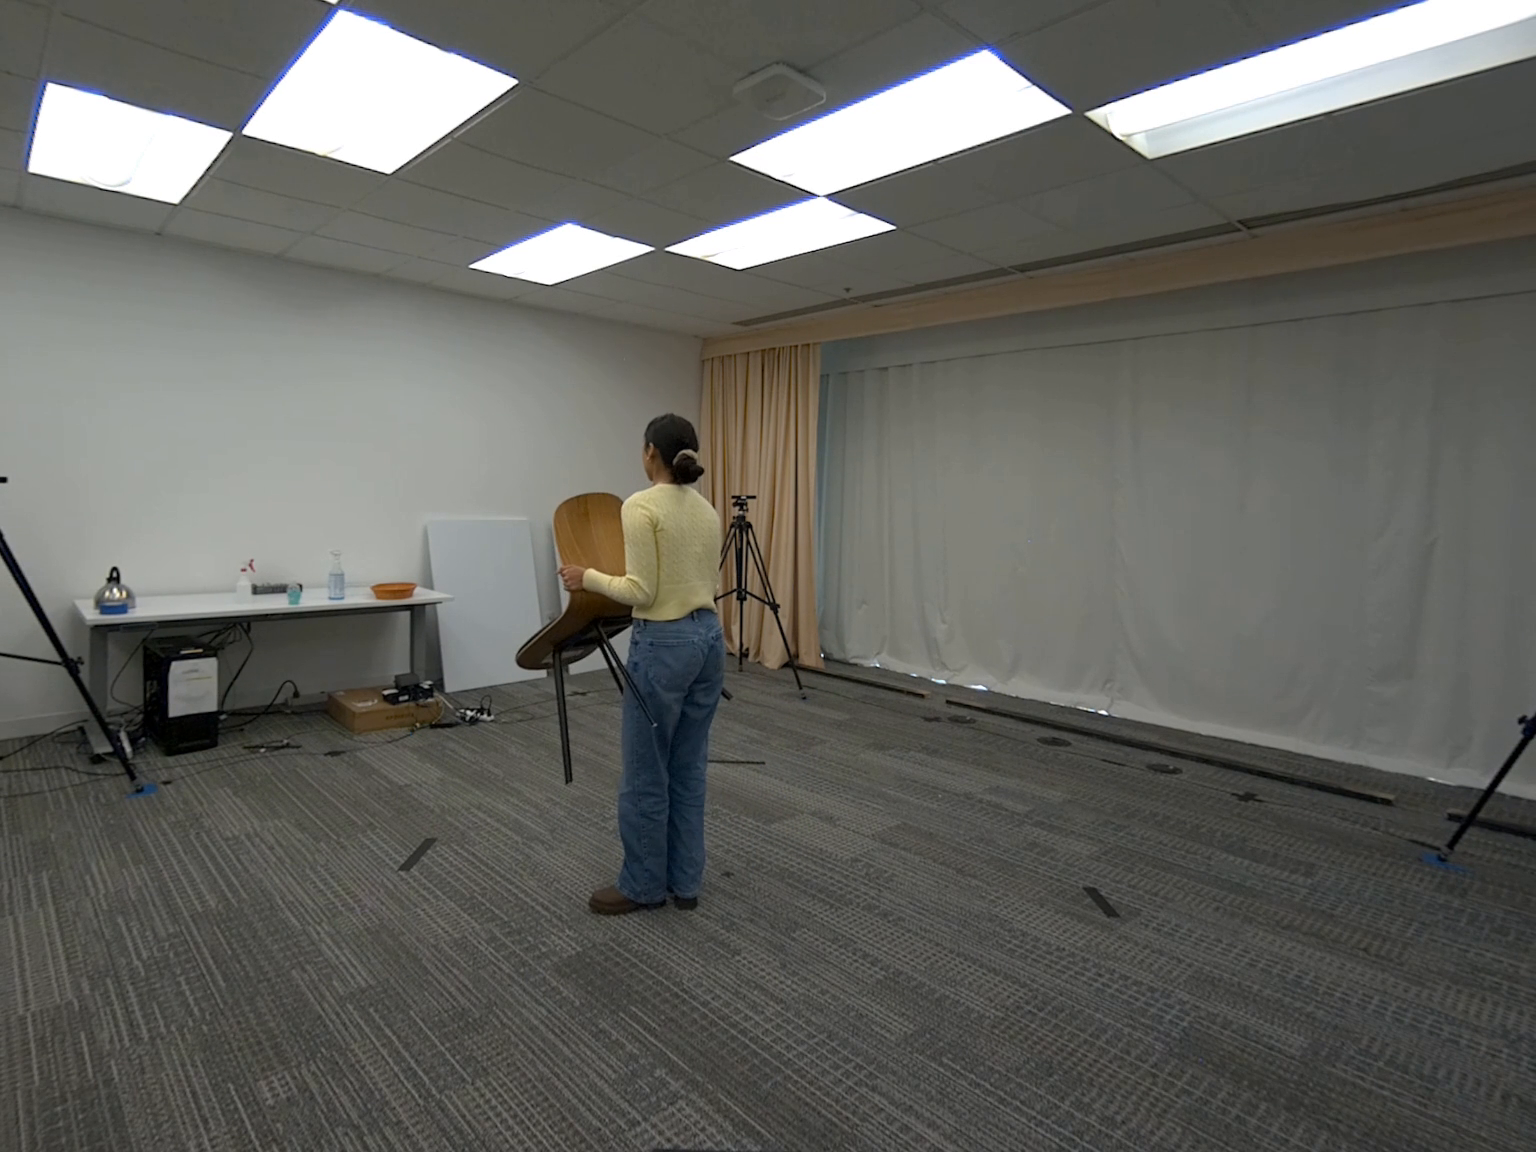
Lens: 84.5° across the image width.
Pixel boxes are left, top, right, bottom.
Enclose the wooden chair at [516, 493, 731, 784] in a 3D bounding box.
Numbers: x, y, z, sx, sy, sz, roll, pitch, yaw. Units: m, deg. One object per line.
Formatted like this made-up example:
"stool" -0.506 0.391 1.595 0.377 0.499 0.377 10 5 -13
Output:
"wooden chair" -0.612 0.213 3.009 0.526 0.889 0.468 -33 -15 30
